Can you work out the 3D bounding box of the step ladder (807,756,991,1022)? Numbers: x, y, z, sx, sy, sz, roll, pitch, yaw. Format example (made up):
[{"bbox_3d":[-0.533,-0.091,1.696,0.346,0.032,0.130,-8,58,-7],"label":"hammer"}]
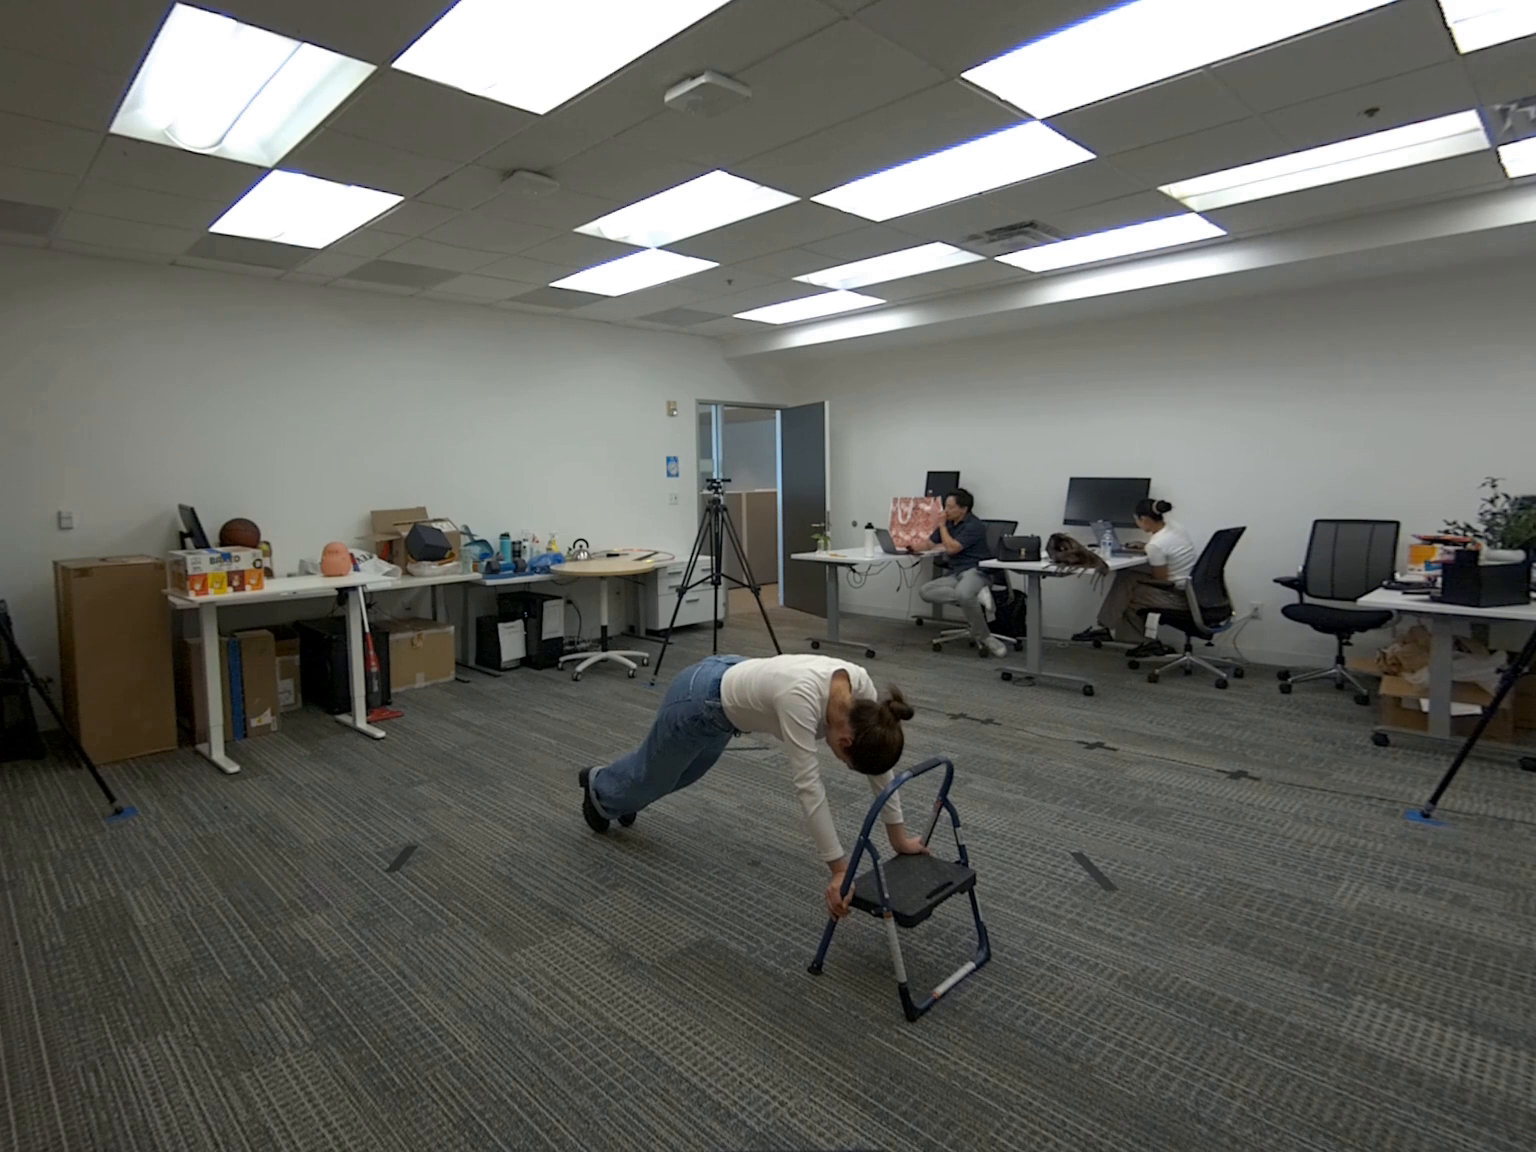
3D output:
[{"bbox_3d":[0.382,0.815,2.425,0.360,0.604,0.419,3,6,43],"label":"step ladder"}]
